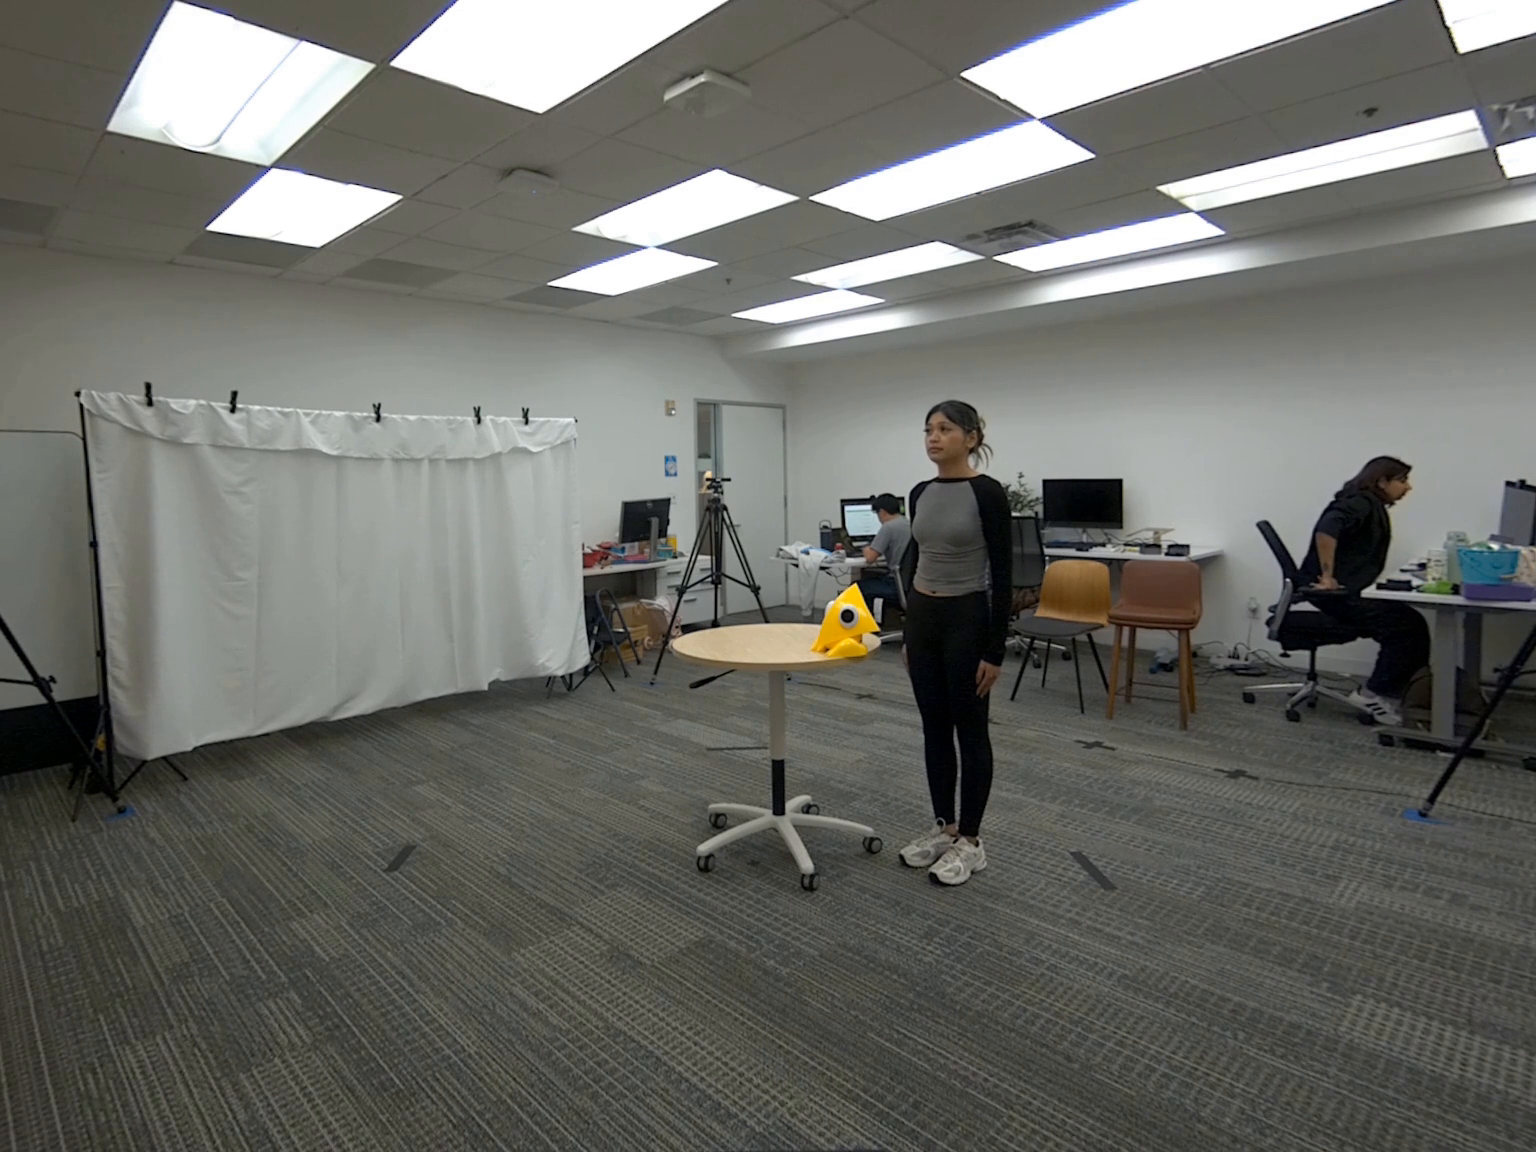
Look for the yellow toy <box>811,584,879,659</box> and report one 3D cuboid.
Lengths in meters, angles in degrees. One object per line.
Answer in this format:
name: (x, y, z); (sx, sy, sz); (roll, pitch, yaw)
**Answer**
yellow toy: (0.258, 0.143, 2.940); (0.189, 0.230, 0.209); (-4, 5, -23)
